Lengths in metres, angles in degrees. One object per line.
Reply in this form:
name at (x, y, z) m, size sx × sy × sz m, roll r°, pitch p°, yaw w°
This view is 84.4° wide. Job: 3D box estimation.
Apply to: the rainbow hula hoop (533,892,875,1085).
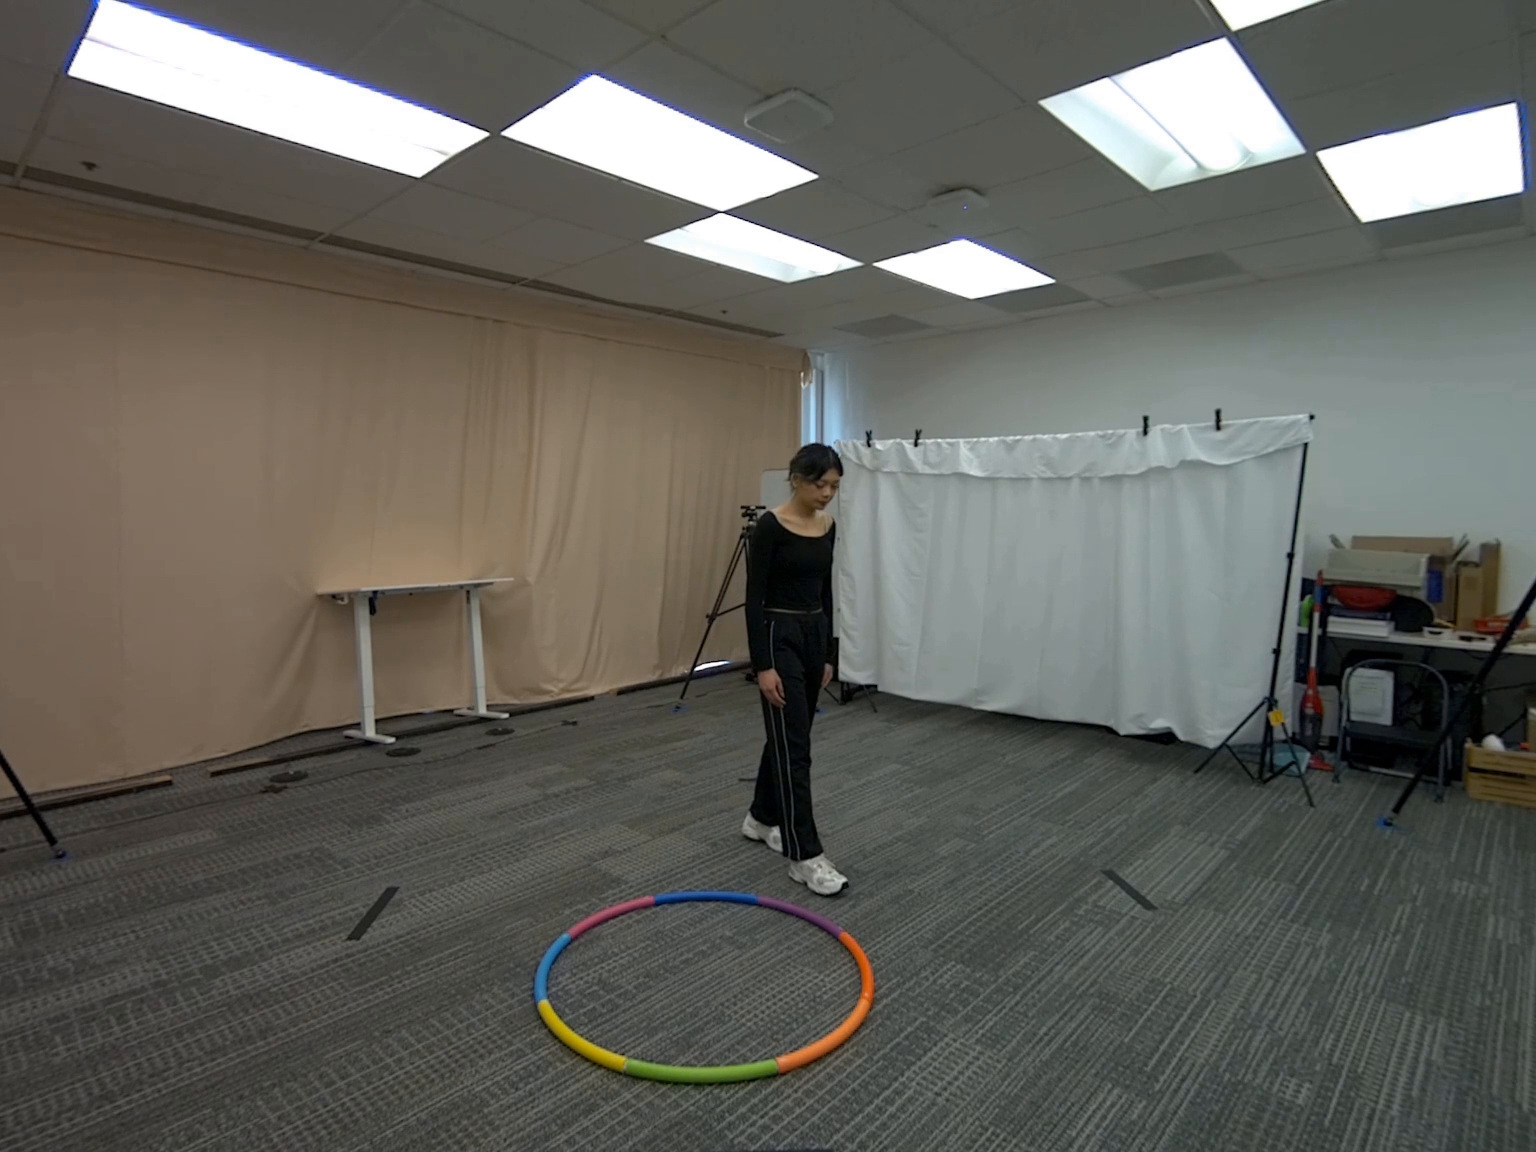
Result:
rainbow hula hoop at (-0.184, 1.156, 2.506) m, size 0.978 × 0.035 × 0.982 m, roll 0°, pitch 4°, yaw -2°
